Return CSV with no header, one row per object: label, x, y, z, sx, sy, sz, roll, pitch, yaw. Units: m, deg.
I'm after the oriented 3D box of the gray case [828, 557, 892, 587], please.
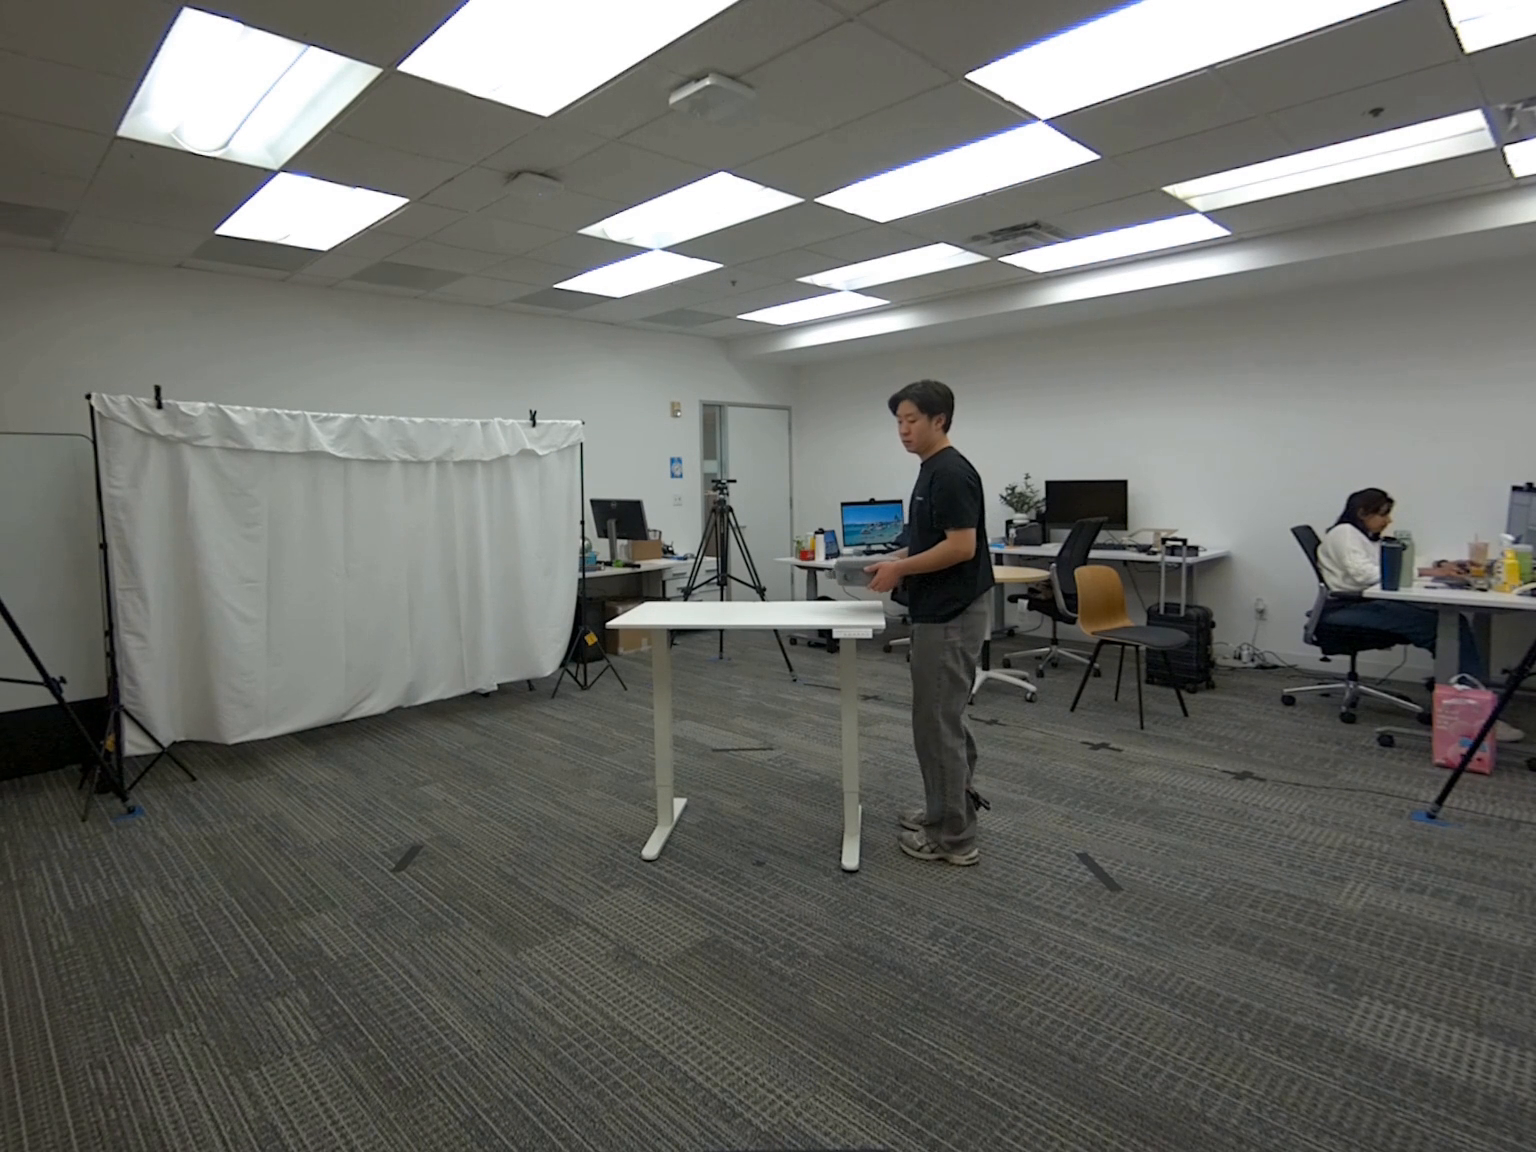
gray case,0.387,-0.019,3.244,0.290,0.103,0.260,-1,1,11
